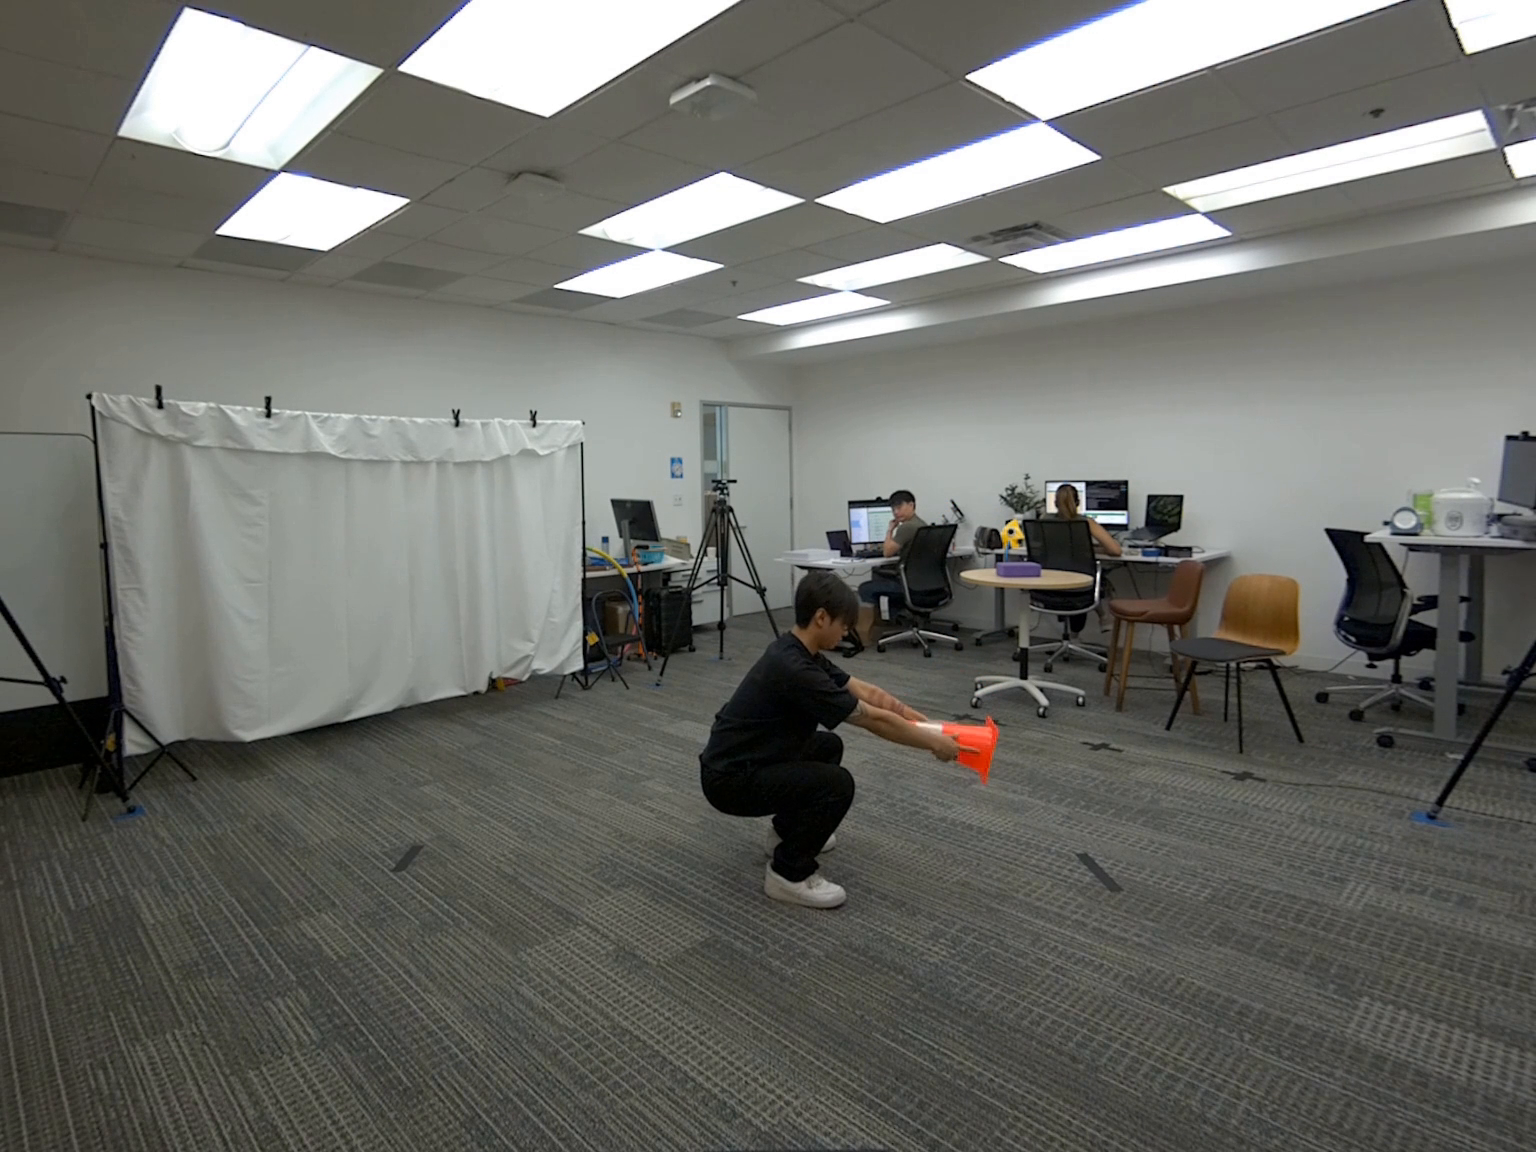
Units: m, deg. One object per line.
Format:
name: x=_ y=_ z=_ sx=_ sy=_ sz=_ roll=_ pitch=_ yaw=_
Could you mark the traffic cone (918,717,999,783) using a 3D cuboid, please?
traffic cone: x=0.571 y=0.572 z=3.001 sx=0.387 sy=0.203 sz=0.203 roll=11 pitch=1 yaw=6
